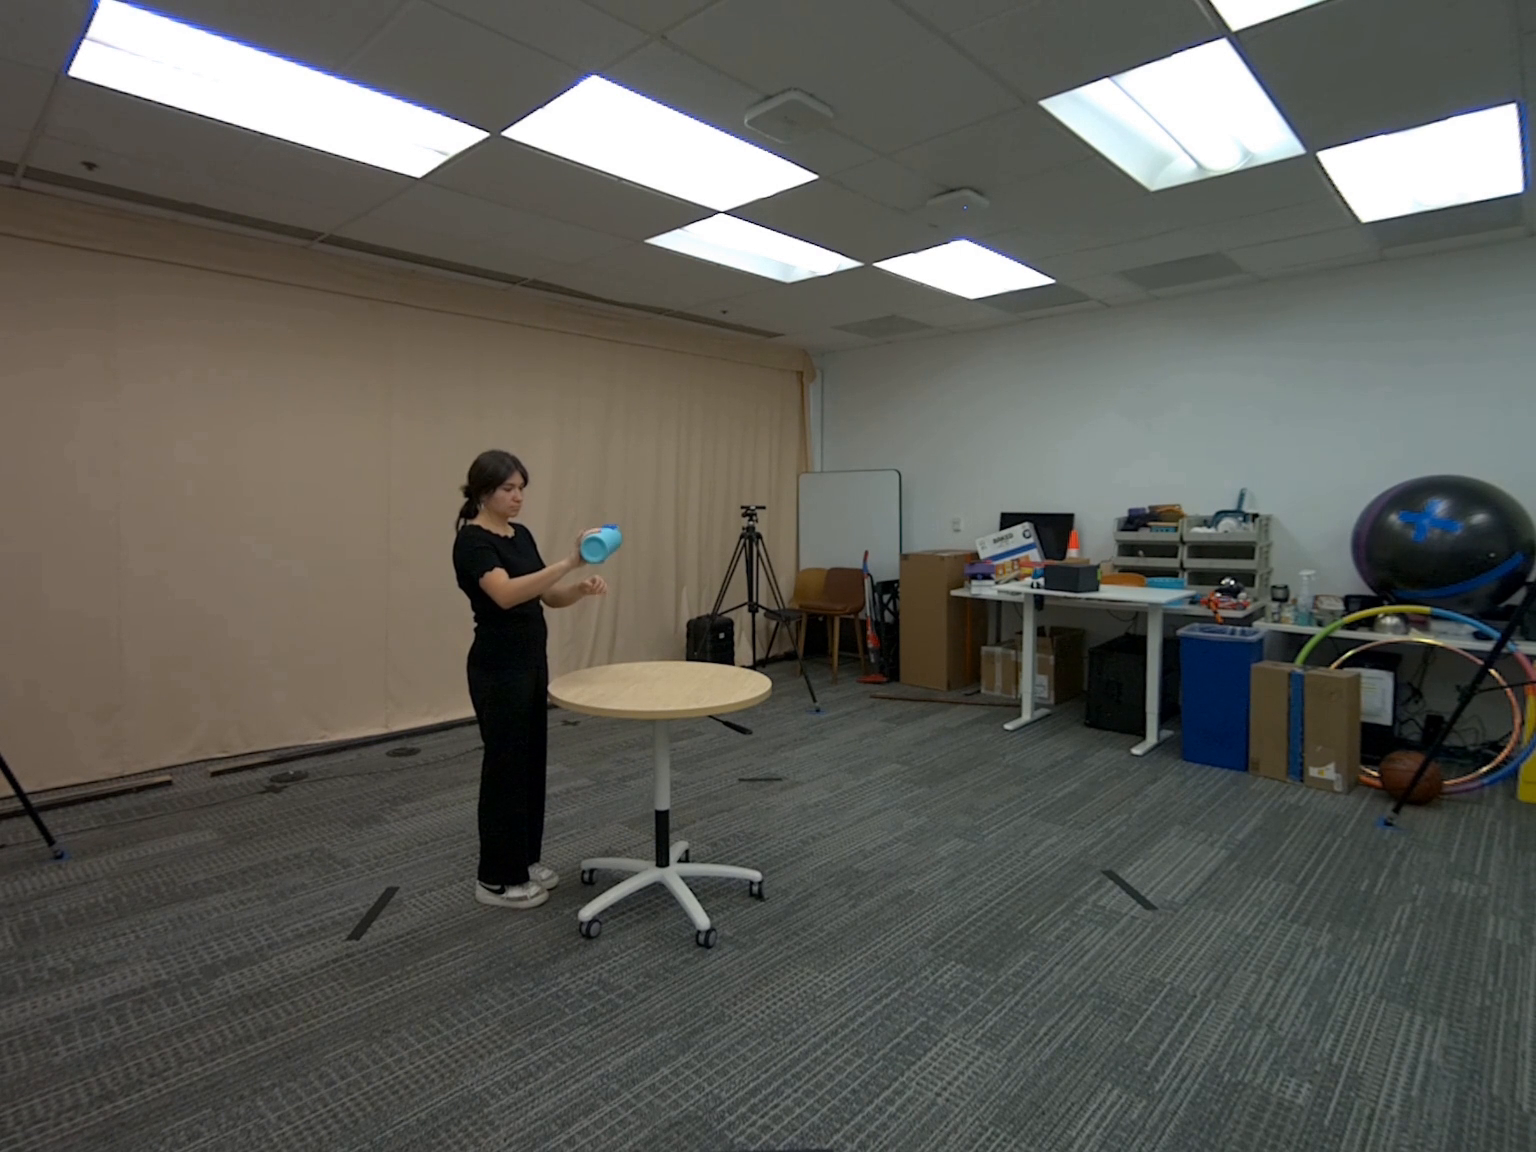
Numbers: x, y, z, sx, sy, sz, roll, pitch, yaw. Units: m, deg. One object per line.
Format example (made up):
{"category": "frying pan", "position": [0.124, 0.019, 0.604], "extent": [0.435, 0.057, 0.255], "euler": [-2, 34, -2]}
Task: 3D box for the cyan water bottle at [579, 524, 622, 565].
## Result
{"category": "cyan water bottle", "position": [-0.532, -0.107, 2.745], "extent": [0.093, 0.092, 0.284], "euler": [0, 11, 3]}
